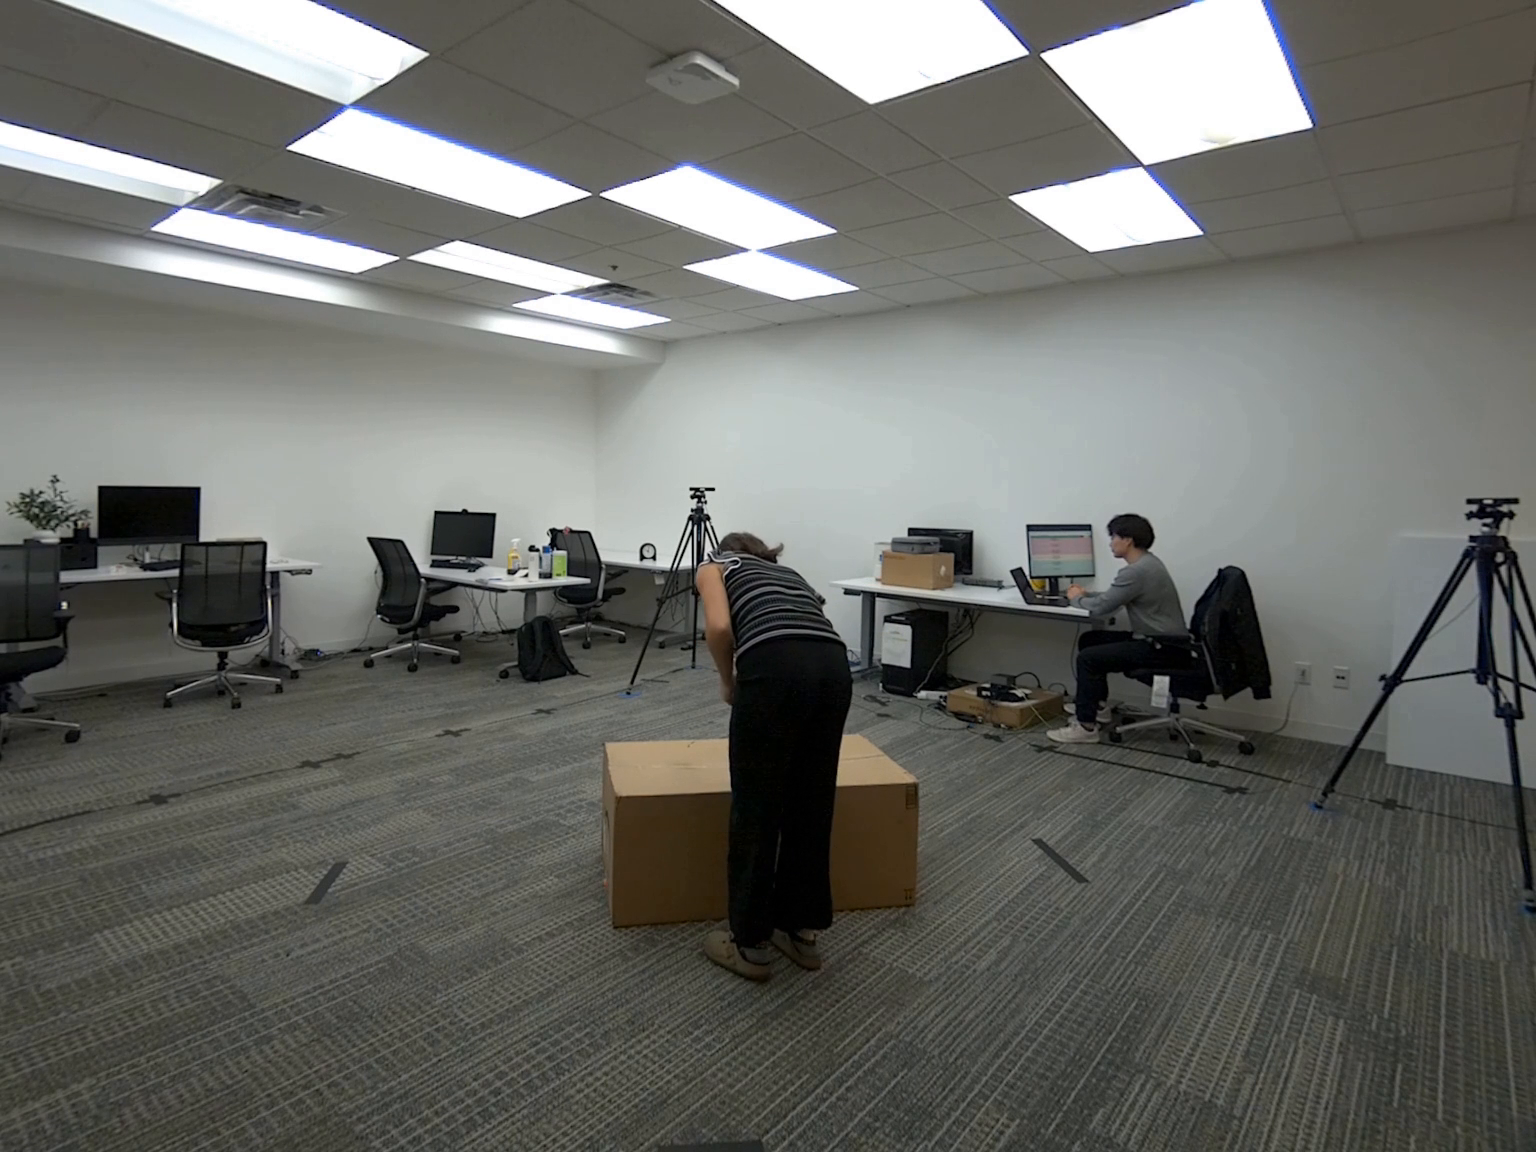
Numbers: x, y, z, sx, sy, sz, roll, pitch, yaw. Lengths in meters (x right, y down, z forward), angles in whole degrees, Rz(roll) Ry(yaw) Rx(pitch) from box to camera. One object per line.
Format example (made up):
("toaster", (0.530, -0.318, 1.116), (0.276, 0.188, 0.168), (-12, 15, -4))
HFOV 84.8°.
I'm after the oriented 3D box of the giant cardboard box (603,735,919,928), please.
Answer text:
("giant cardboard box", (-0.070, 0.866, 3.035), (1.013, 0.425, 0.587), (0, 5, -12))
